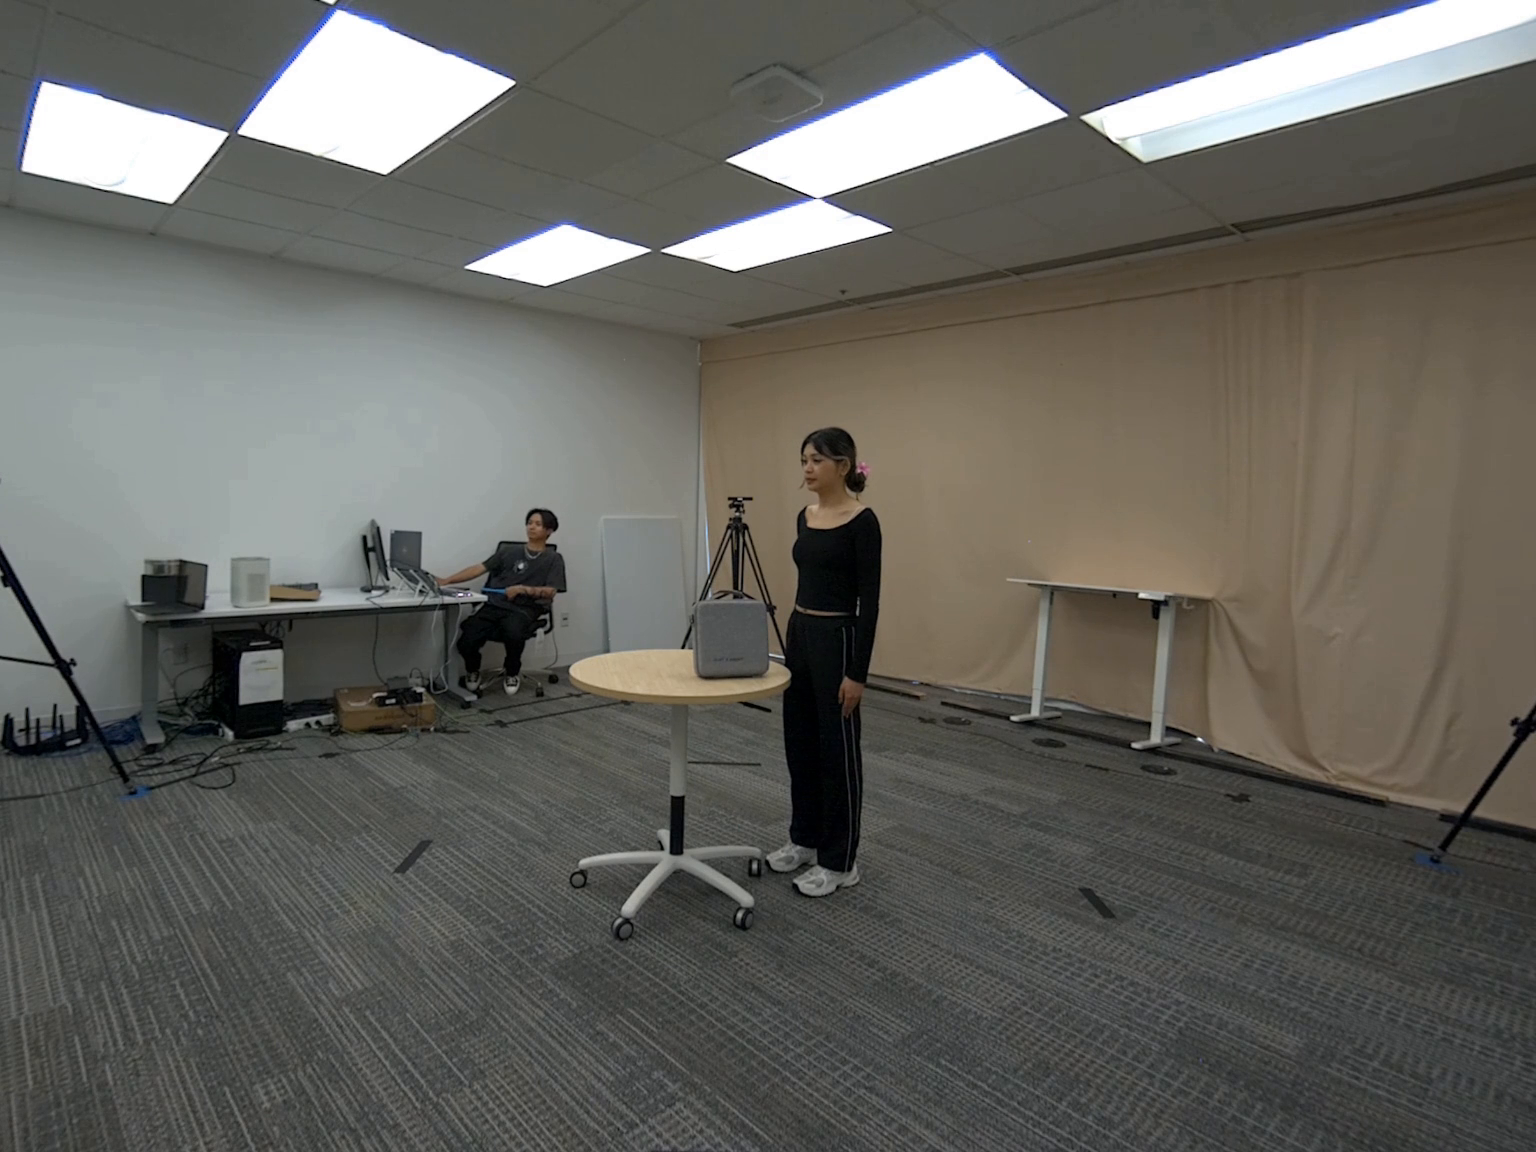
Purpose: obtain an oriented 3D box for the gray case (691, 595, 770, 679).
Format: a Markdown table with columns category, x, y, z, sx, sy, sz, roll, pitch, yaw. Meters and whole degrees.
| category | x | y | z | sx | sy | sz | roll | pitch | yaw |
| --- | --- | --- | --- | --- | --- | --- | --- | --- | --- |
| gray case | -0.138 | 0.208 | 2.853 | 0.253 | 0.262 | 0.105 | 0 | -7 | -19 |
